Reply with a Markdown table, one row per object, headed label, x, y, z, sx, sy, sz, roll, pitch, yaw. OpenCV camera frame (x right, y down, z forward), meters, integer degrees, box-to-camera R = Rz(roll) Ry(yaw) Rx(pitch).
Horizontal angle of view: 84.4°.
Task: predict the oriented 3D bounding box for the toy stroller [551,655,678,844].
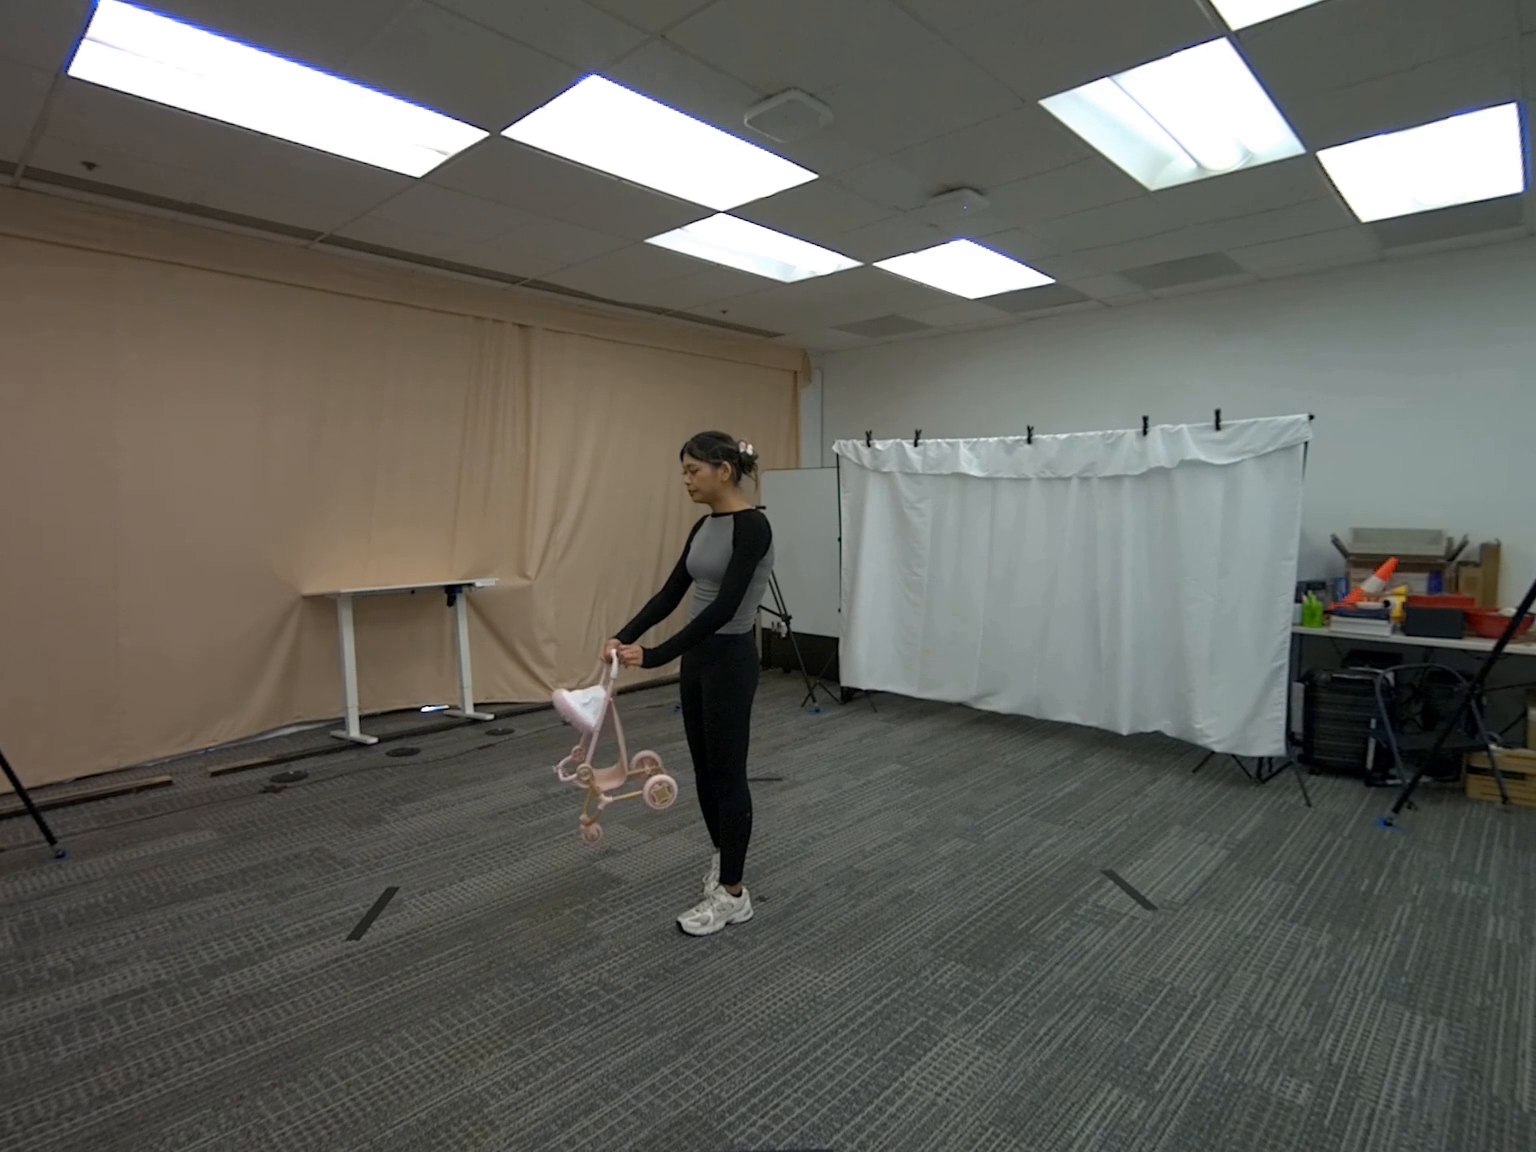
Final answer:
| label | x | y | z | sx | sy | sz | roll | pitch | yaw |
| --- | --- | --- | --- | --- | --- | --- | --- | --- | --- |
| toy stroller | -0.518 | 0.549 | 2.633 | 0.339 | 0.530 | 0.286 | -22 | 10 | -9 |
